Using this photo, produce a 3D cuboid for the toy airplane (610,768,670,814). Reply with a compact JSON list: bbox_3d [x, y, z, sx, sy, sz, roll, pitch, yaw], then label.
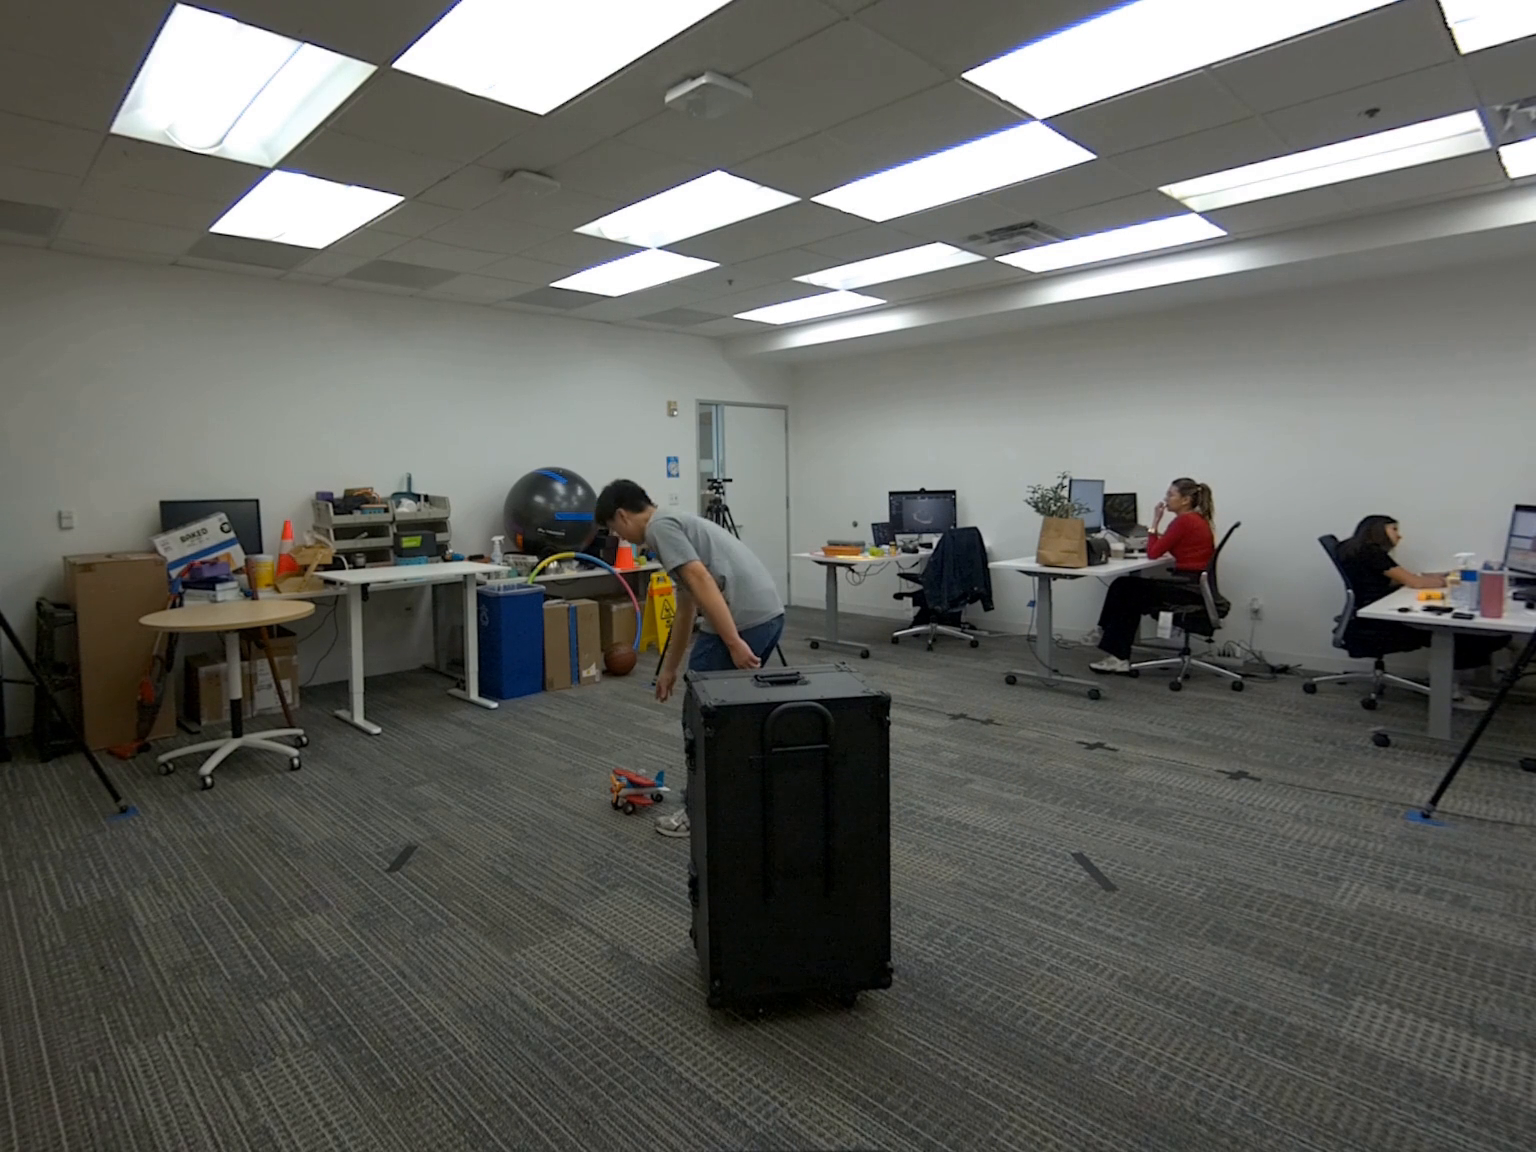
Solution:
[{"bbox_3d":[-0.570,0.920,3.689,0.256,0.155,0.256,1,7,19],"label":"toy airplane"}]
